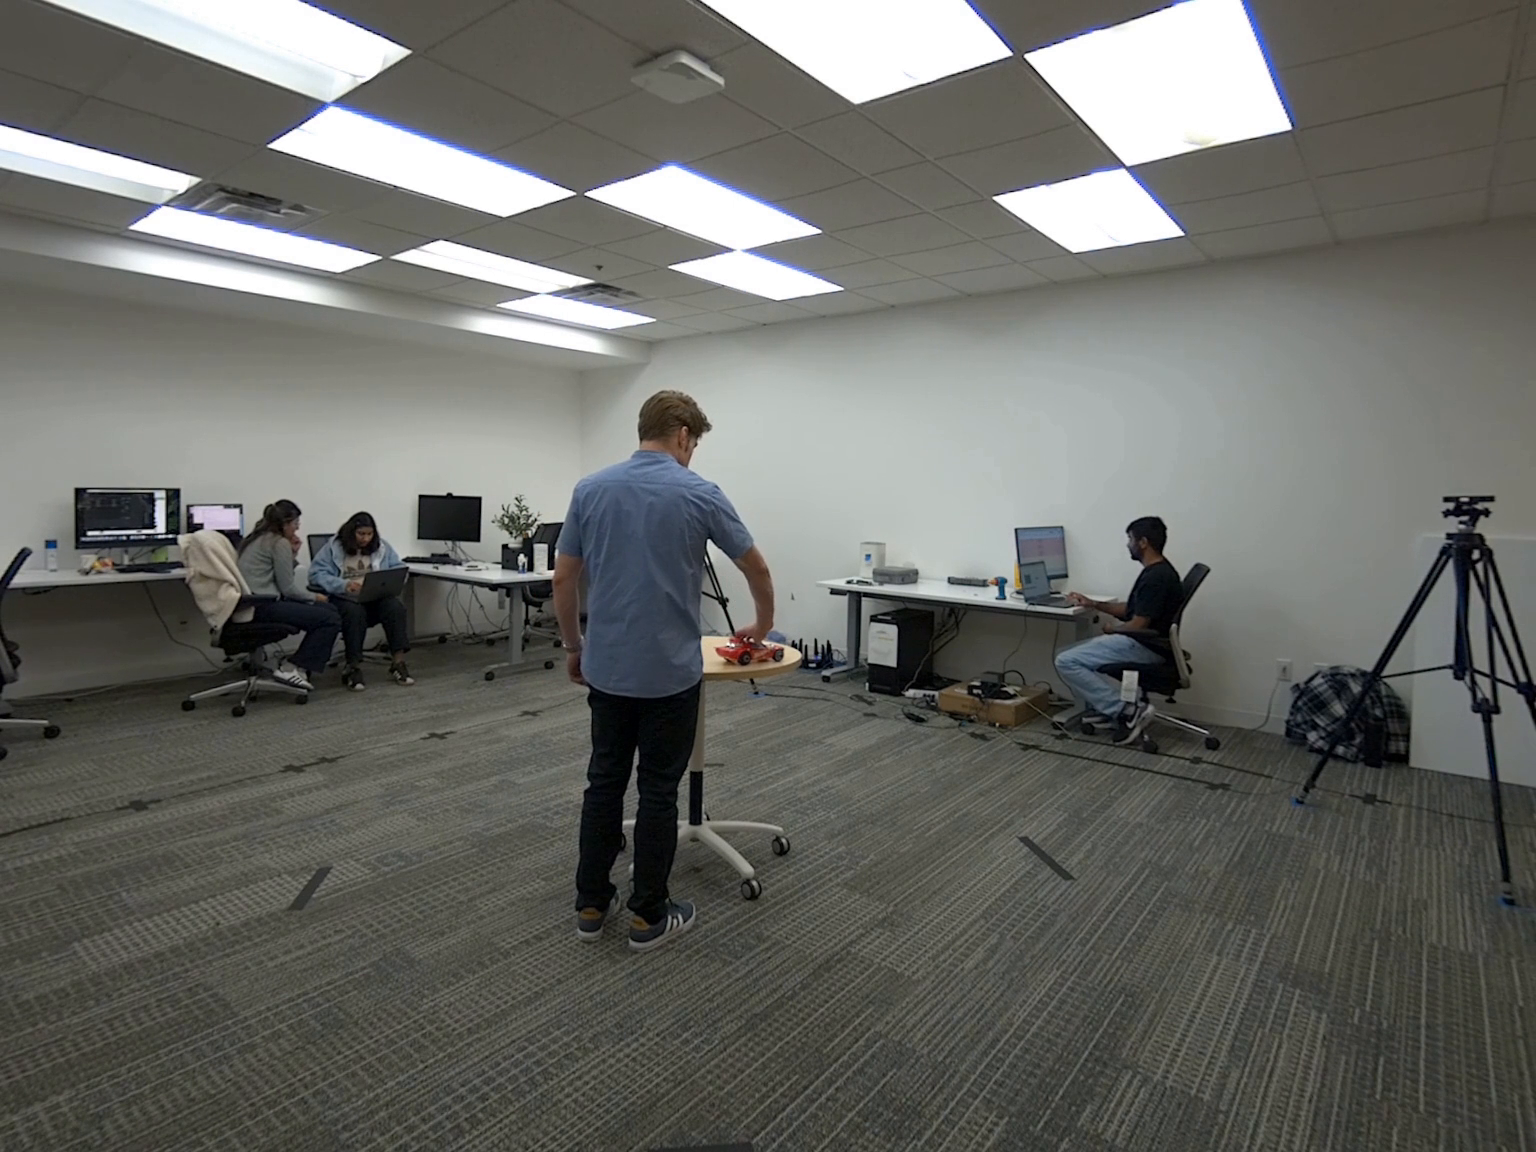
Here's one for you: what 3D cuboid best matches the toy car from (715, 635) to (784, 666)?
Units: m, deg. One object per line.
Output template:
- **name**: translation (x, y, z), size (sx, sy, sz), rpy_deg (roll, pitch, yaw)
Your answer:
- **toy car**: translation (-0.082, 0.267, 2.971), size (0.246, 0.083, 0.134), rpy_deg (11, -2, -34)
